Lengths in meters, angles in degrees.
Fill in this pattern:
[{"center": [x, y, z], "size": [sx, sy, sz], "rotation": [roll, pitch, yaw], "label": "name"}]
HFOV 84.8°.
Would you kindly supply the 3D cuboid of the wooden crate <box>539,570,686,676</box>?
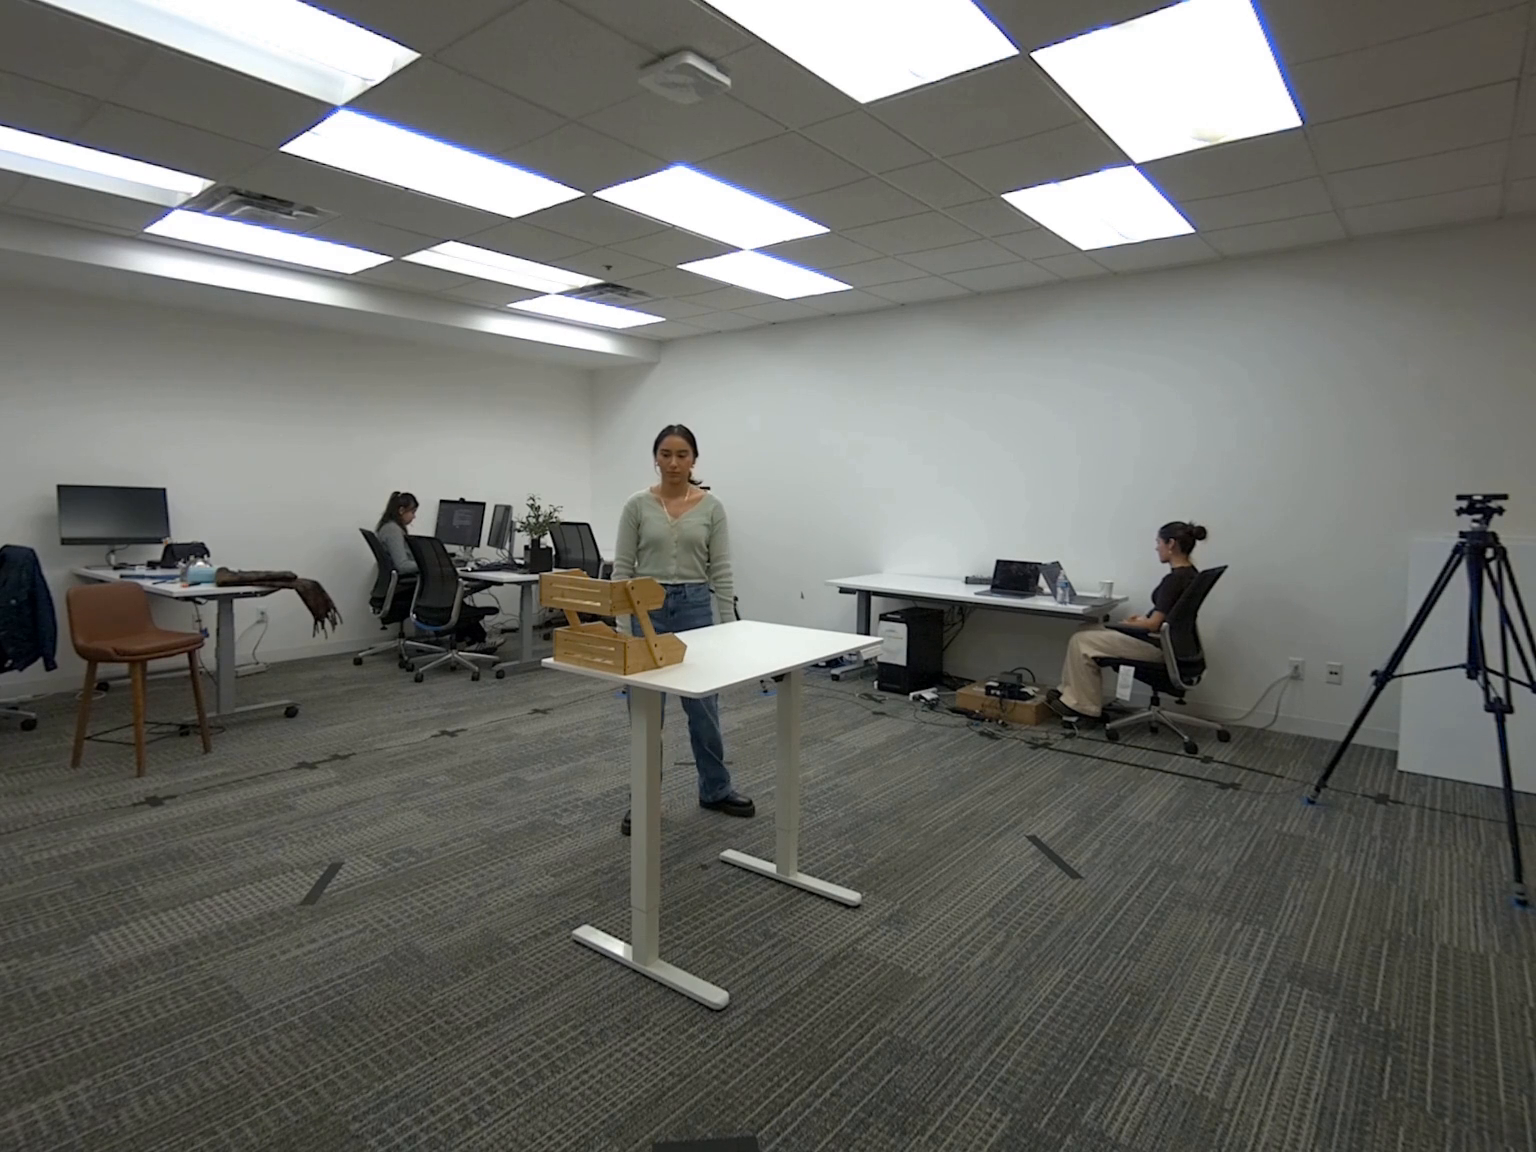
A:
[{"center": [-0.455, 0.114, 2.454], "size": [0.335, 0.272, 0.293], "rotation": [4, 7, 37], "label": "wooden crate"}]
